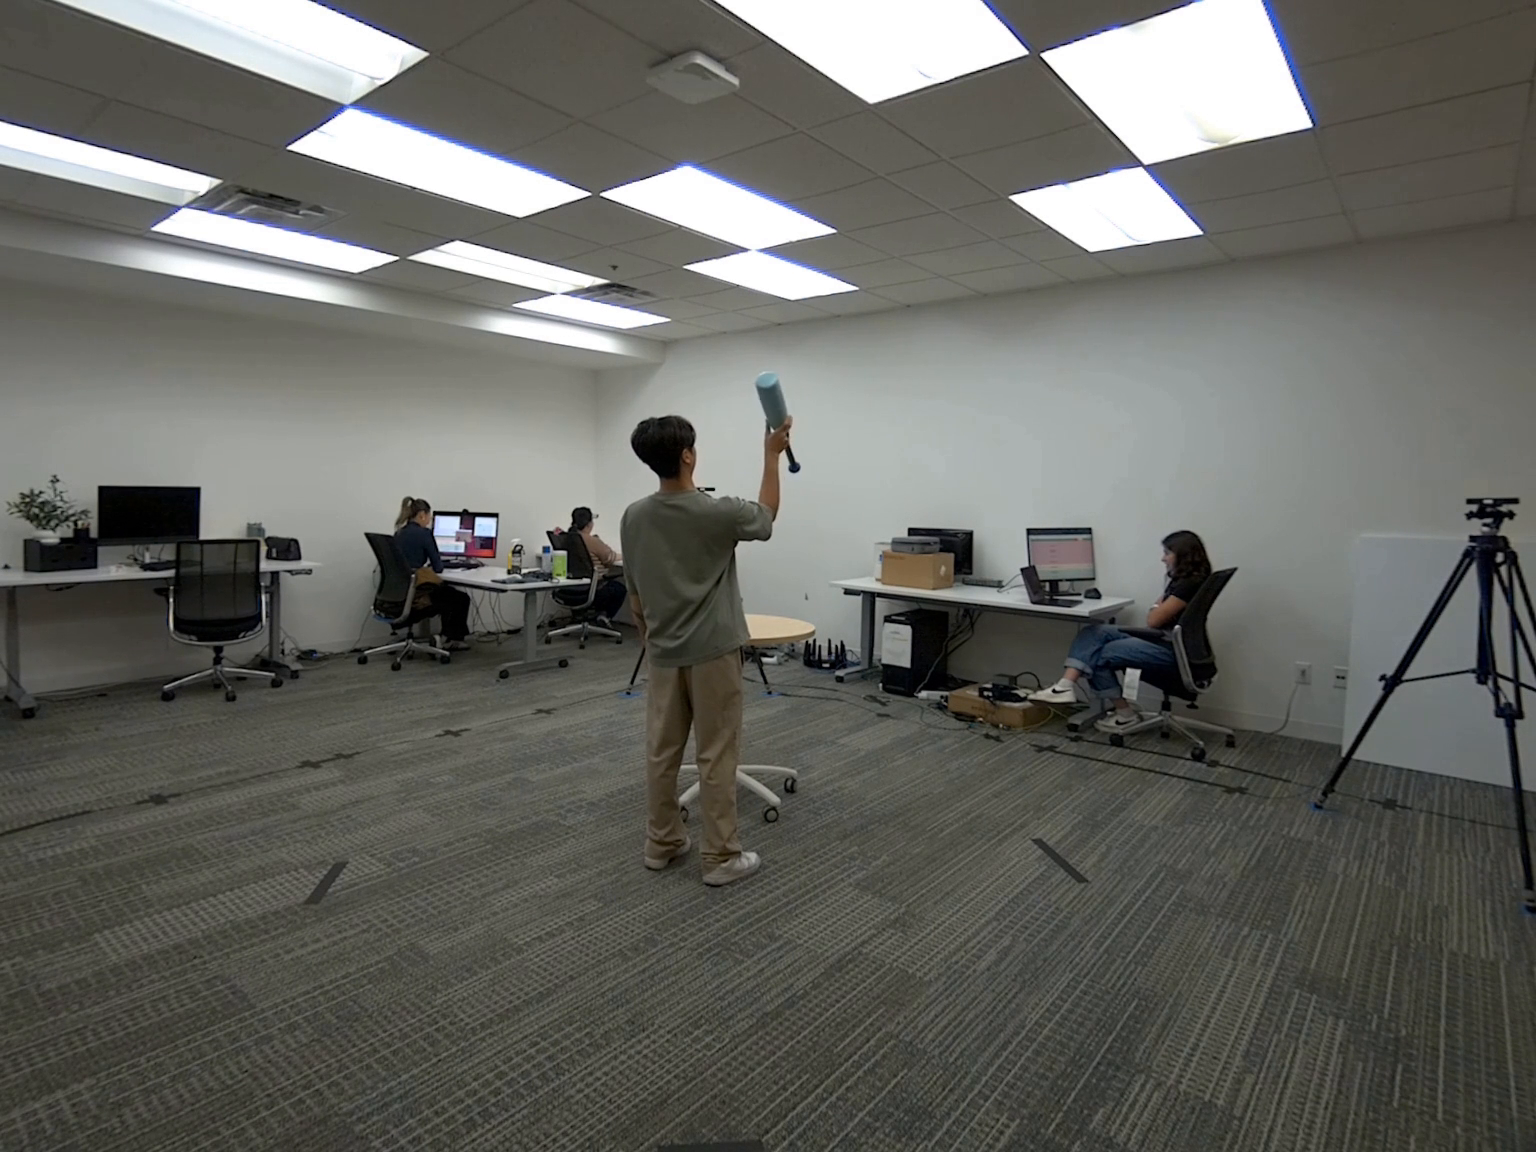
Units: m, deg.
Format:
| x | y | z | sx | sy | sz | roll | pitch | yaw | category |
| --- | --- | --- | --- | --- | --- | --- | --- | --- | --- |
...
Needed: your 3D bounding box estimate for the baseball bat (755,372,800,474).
| x | y | z | sx | sy | sz | roll | pitch | yaw | category |
| --- | --- | --- | --- | --- | --- | --- | --- | --- | --- |
| 0.038 | -0.572 | 3.273 | 0.091 | 0.090 | 0.523 | 3 | -31 | 18 | baseball bat |
